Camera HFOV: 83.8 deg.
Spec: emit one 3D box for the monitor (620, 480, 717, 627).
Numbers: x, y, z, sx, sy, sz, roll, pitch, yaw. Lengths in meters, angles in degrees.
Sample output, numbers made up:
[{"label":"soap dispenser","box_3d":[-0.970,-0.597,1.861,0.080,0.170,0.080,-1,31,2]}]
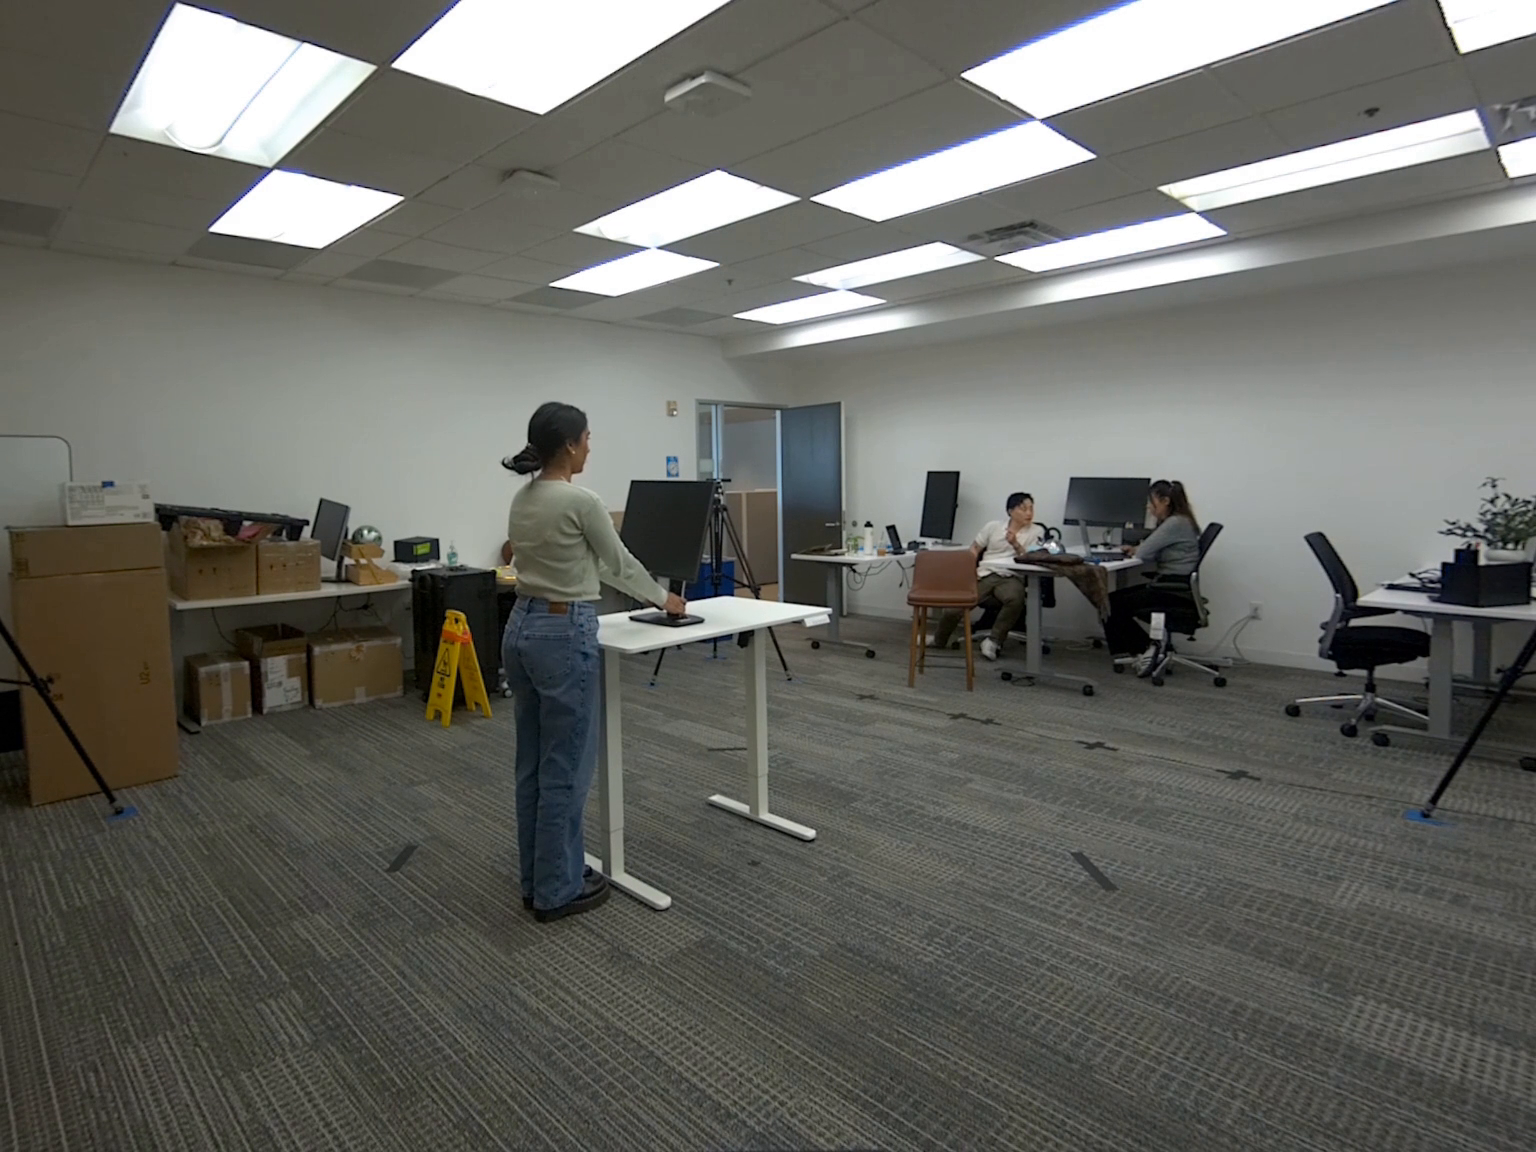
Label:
[{"label":"monitor","box_3d":[-0.354,-0.089,3.137,0.182,0.521,0.556,-3,6,-42]}]
